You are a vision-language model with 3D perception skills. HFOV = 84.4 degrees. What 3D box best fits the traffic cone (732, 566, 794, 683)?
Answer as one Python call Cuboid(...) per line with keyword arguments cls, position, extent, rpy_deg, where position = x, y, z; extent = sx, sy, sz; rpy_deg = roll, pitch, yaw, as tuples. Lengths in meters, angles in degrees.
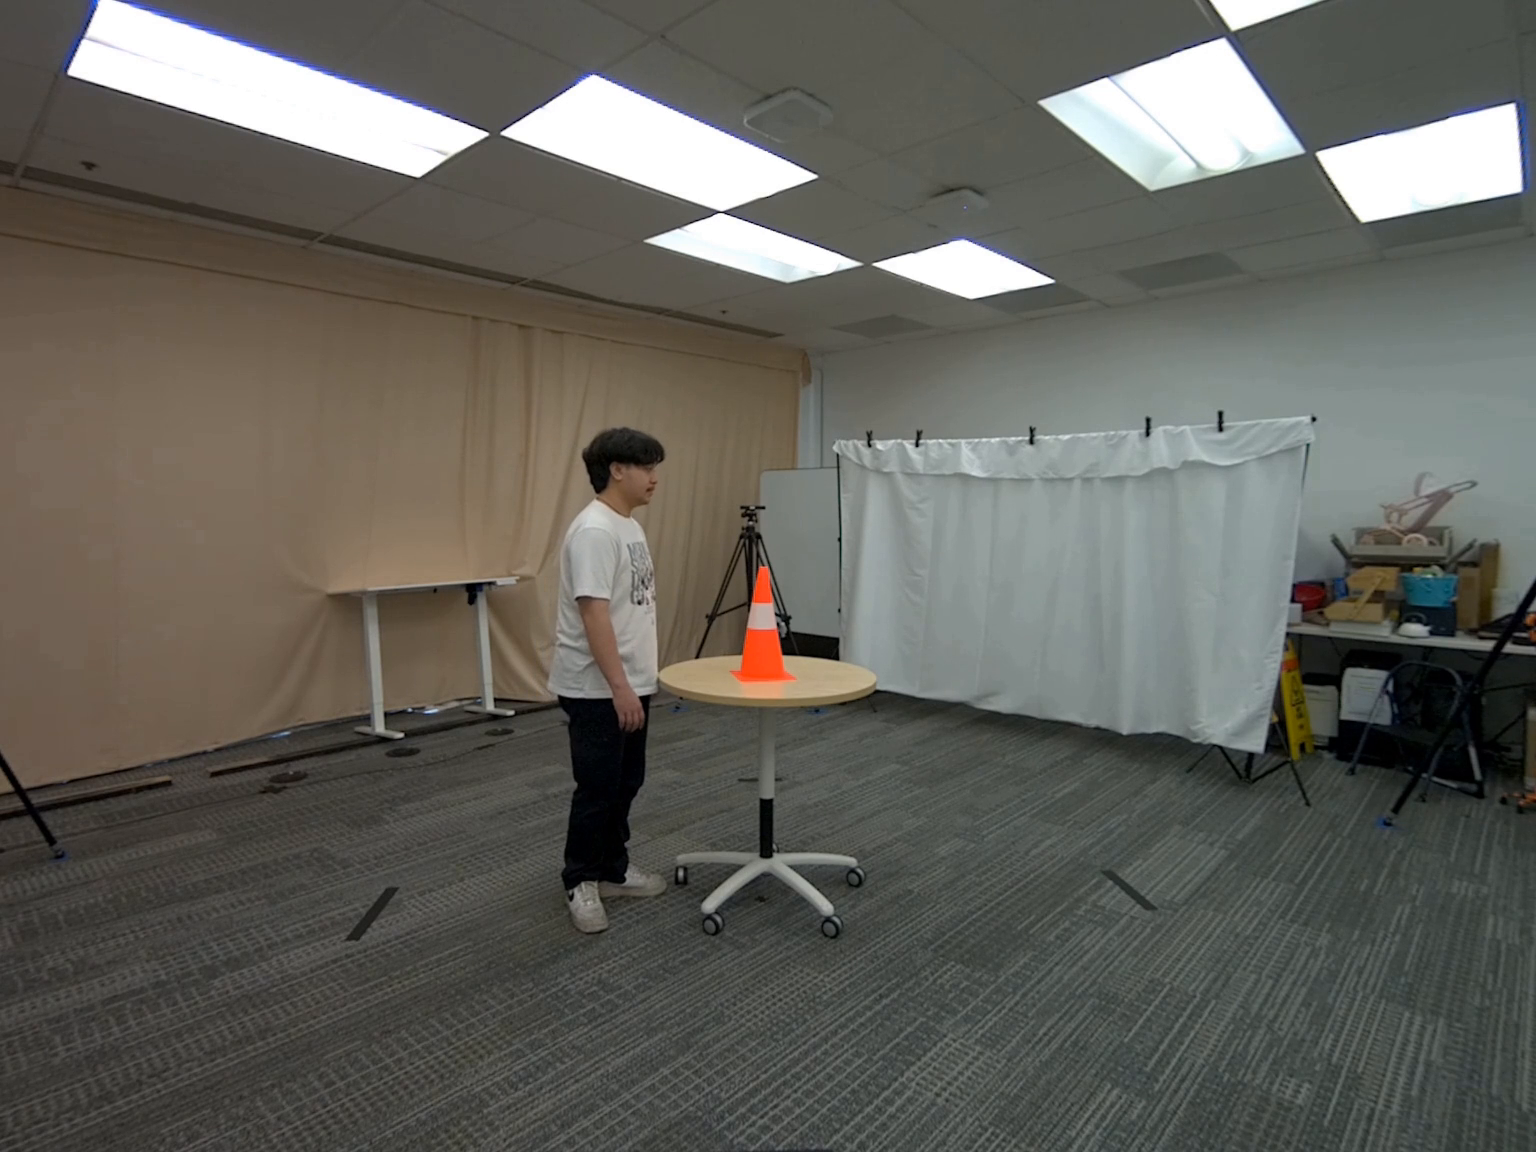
Cuboid(cls="traffic cone", position=(-0.015, 0.162, 2.947), extent=(0.209, 0.383, 0.199), rpy_deg=(3, 3, 32))
